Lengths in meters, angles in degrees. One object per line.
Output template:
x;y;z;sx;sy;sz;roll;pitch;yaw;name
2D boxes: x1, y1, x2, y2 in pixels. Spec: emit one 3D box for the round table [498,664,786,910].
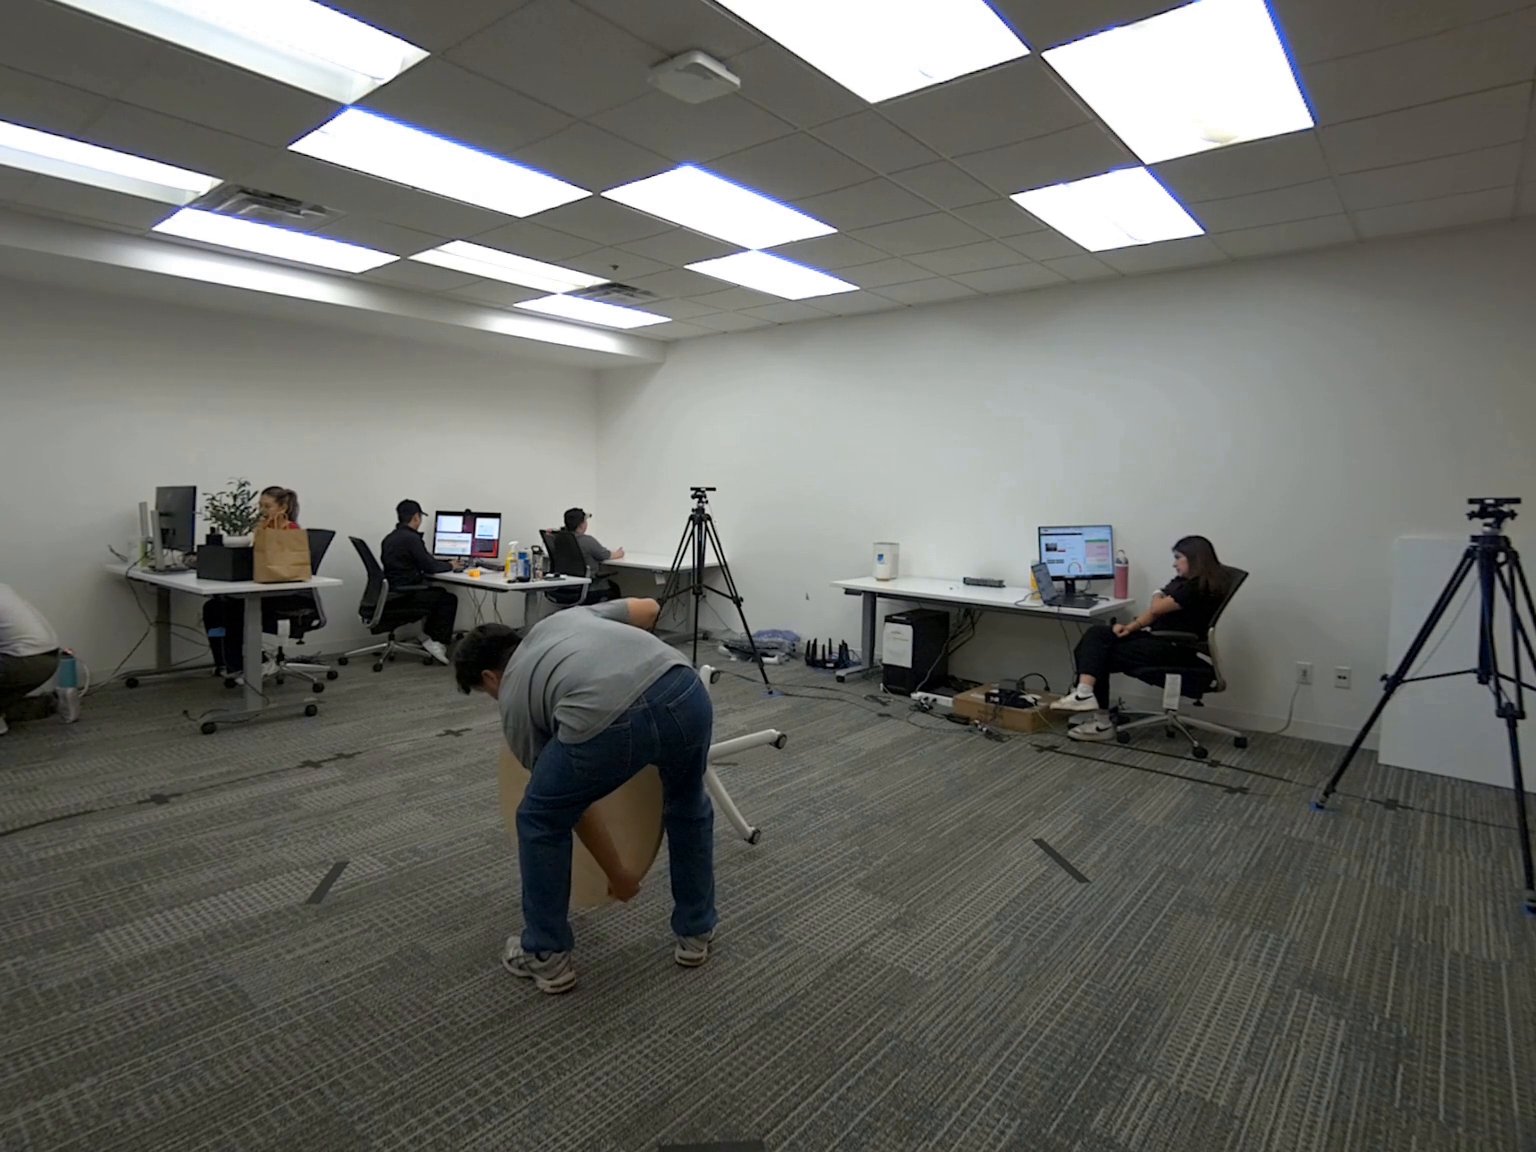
-0.431;0.695;3.103;0.788;0.766;0.767;4;-2;36;round table
